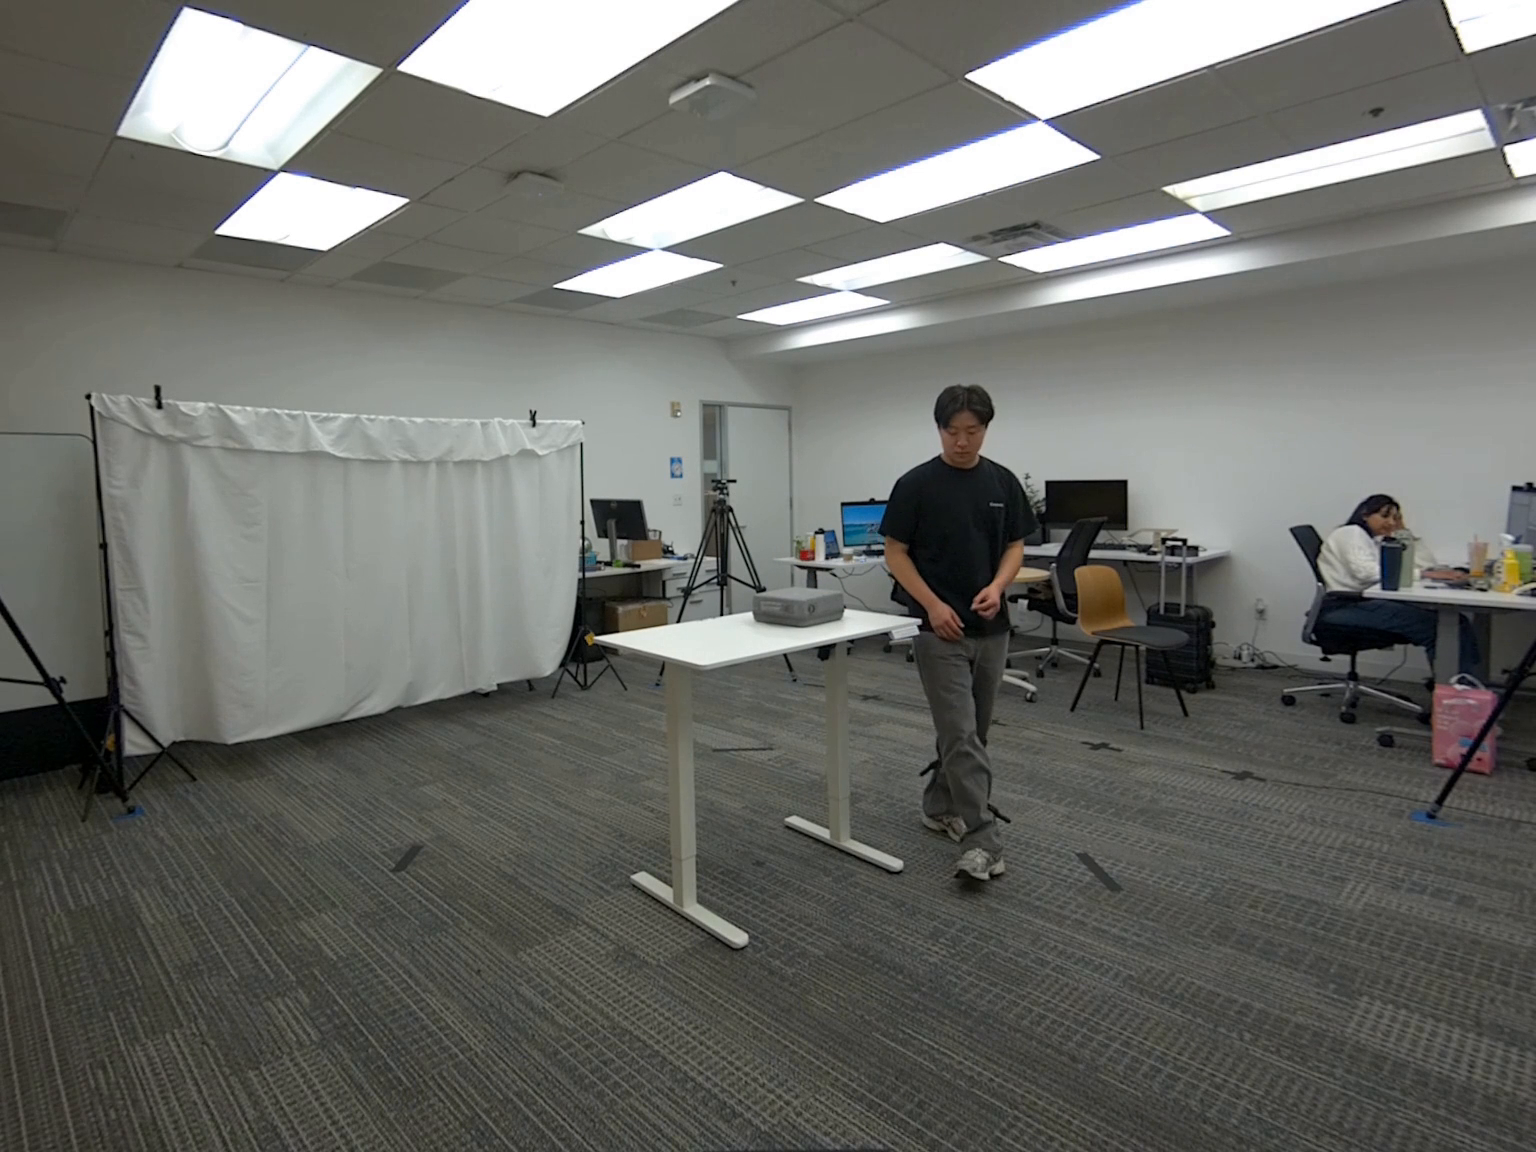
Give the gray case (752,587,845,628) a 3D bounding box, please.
[{"bbox_3d":[0.100,0.111,3.083,0.271,0.102,0.280,5,9,44],"label":"gray case"}]
